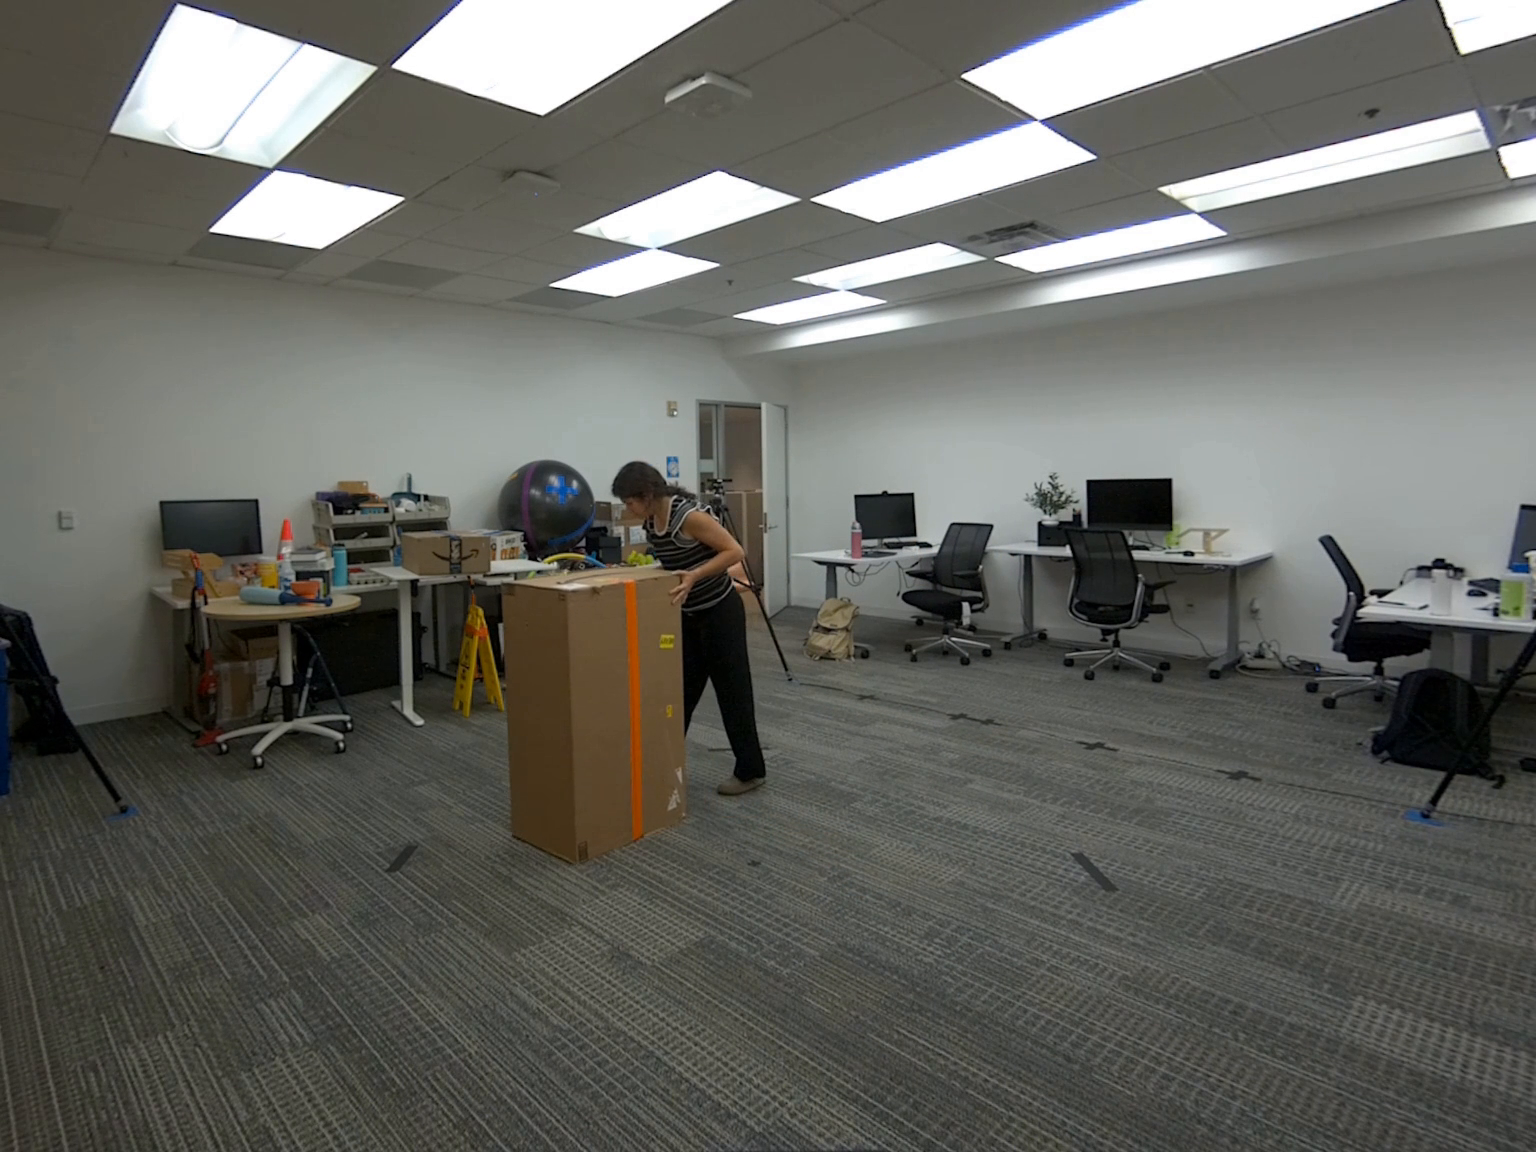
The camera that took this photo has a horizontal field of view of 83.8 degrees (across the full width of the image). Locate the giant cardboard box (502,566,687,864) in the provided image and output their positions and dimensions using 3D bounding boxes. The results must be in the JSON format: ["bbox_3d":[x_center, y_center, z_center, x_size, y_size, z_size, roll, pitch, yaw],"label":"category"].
[{"bbox_3d":[-0.690,0.515,3.424,0.439,1.022,0.563,3,6,40],"label":"giant cardboard box"}]
